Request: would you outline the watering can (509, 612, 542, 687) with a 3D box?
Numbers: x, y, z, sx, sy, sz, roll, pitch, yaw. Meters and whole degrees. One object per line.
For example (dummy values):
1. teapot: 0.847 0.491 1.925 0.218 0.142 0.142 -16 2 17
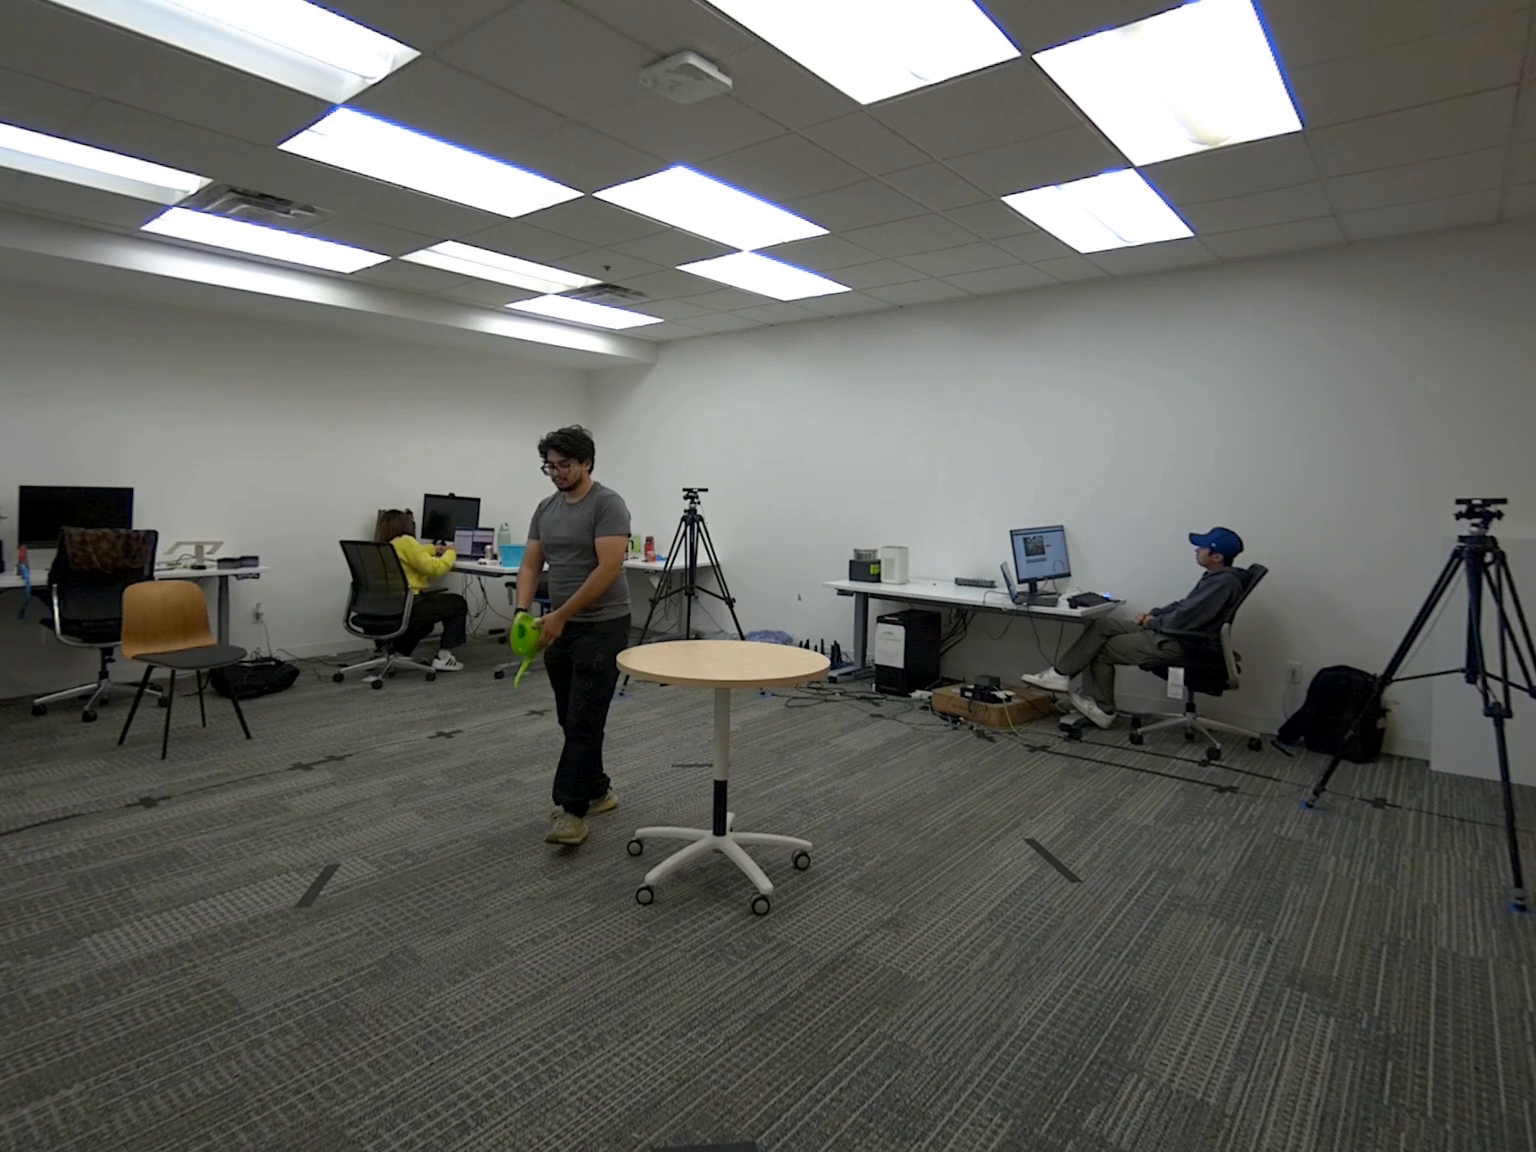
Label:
1. watering can: -0.949 0.272 3.247 0.100 0.277 0.174 10 4 15
